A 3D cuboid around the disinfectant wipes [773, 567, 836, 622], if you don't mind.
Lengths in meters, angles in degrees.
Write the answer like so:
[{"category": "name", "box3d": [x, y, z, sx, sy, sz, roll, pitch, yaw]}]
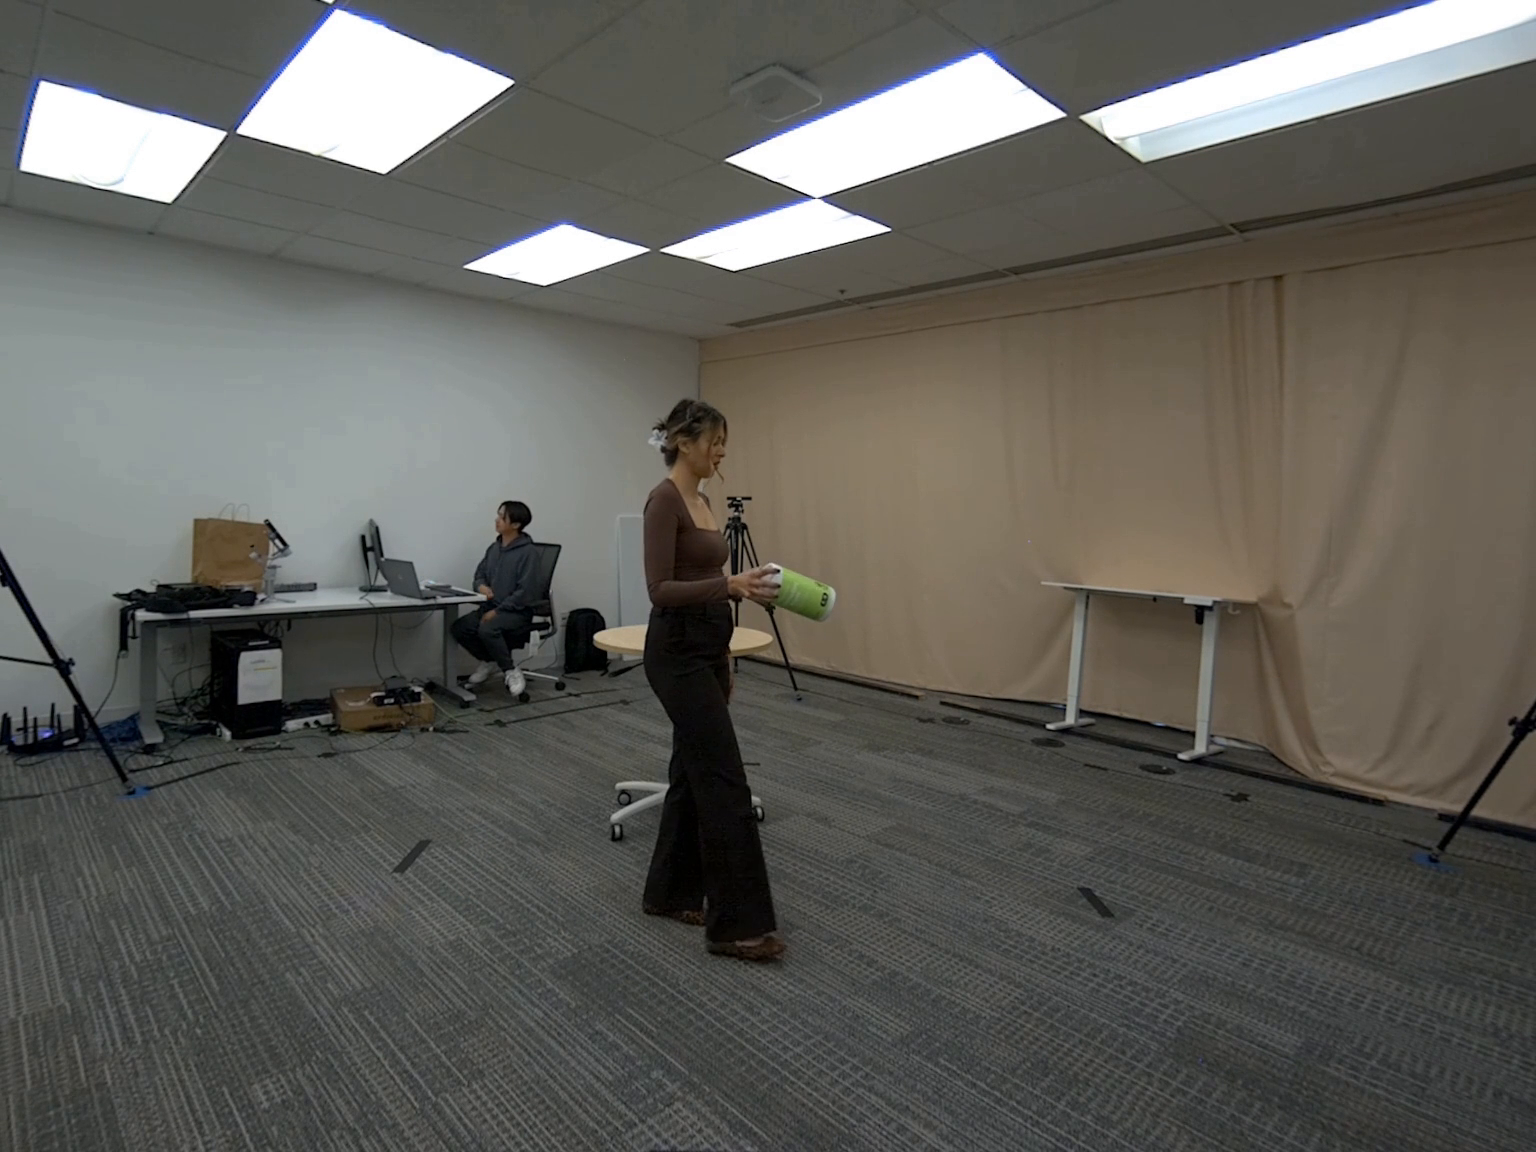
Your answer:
[{"category": "disinfectant wipes", "box3d": [0.075, 0.050, 2.418, 0.213, 0.118, 0.120, 24, -4, -21]}]
